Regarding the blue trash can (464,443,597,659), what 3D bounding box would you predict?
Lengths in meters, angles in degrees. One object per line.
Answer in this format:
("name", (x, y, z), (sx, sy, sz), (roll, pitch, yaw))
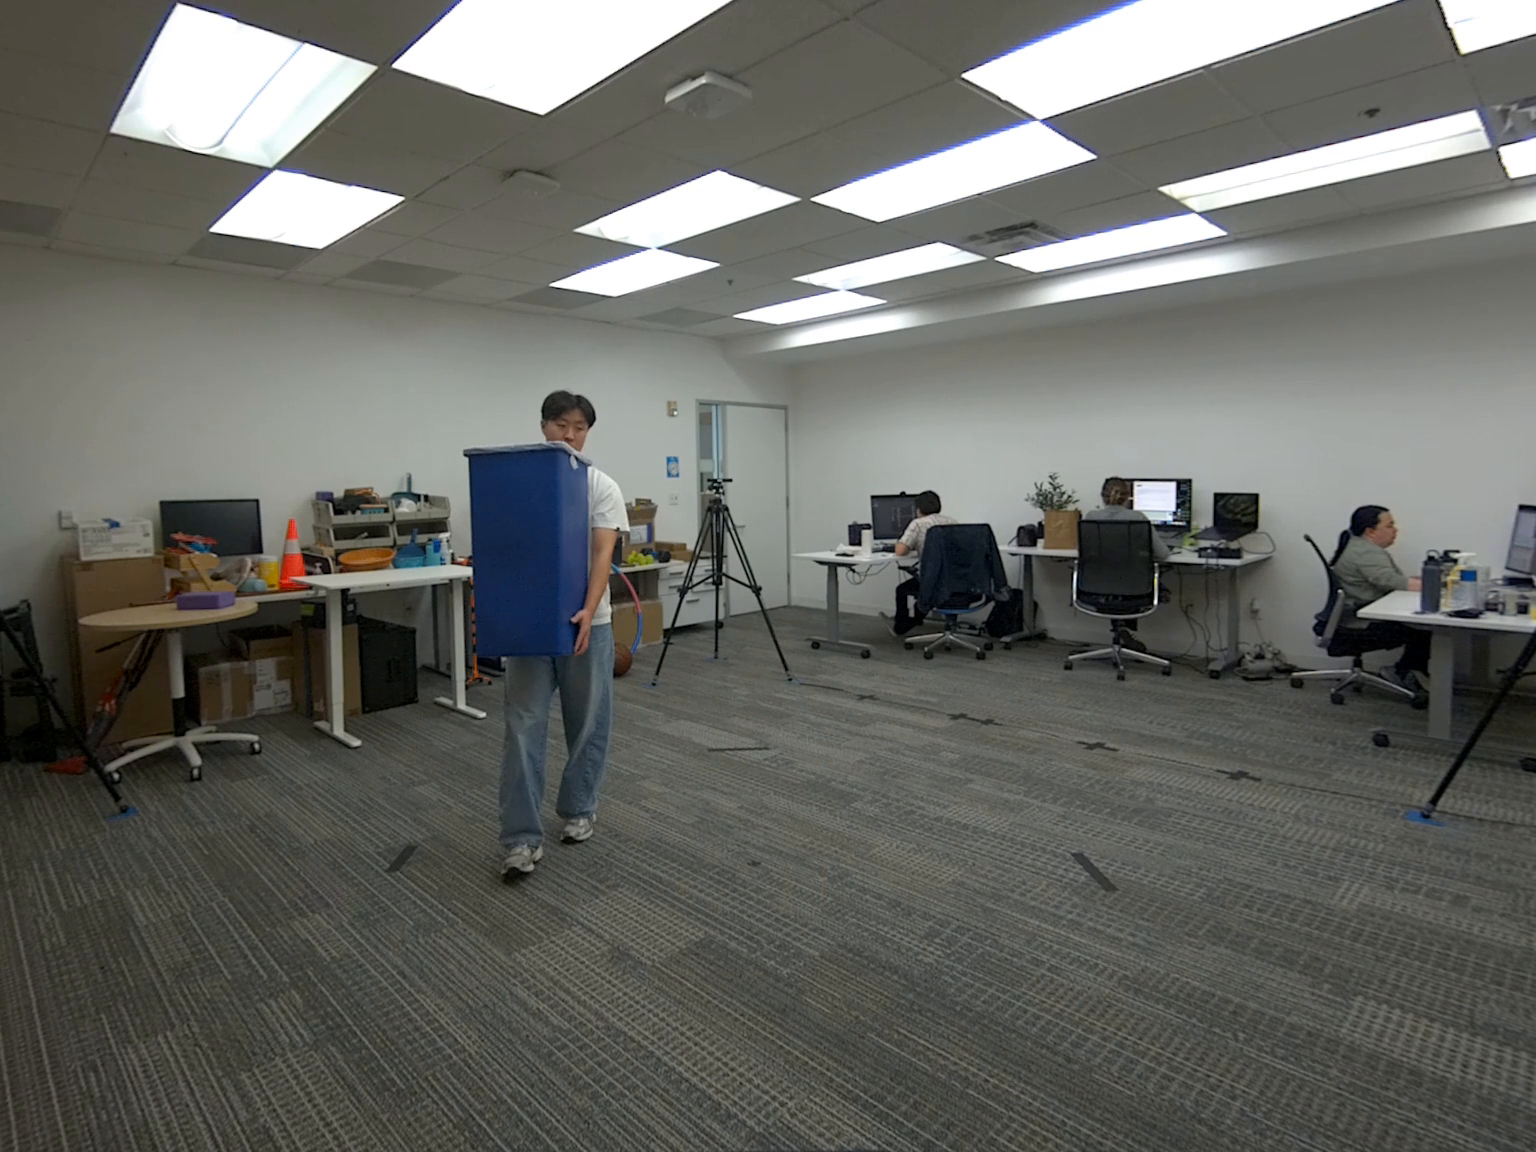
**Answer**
("blue trash can", (-0.851, -0.085, 3.019), (0.376, 0.718, 0.373), (-2, -6, 6))
